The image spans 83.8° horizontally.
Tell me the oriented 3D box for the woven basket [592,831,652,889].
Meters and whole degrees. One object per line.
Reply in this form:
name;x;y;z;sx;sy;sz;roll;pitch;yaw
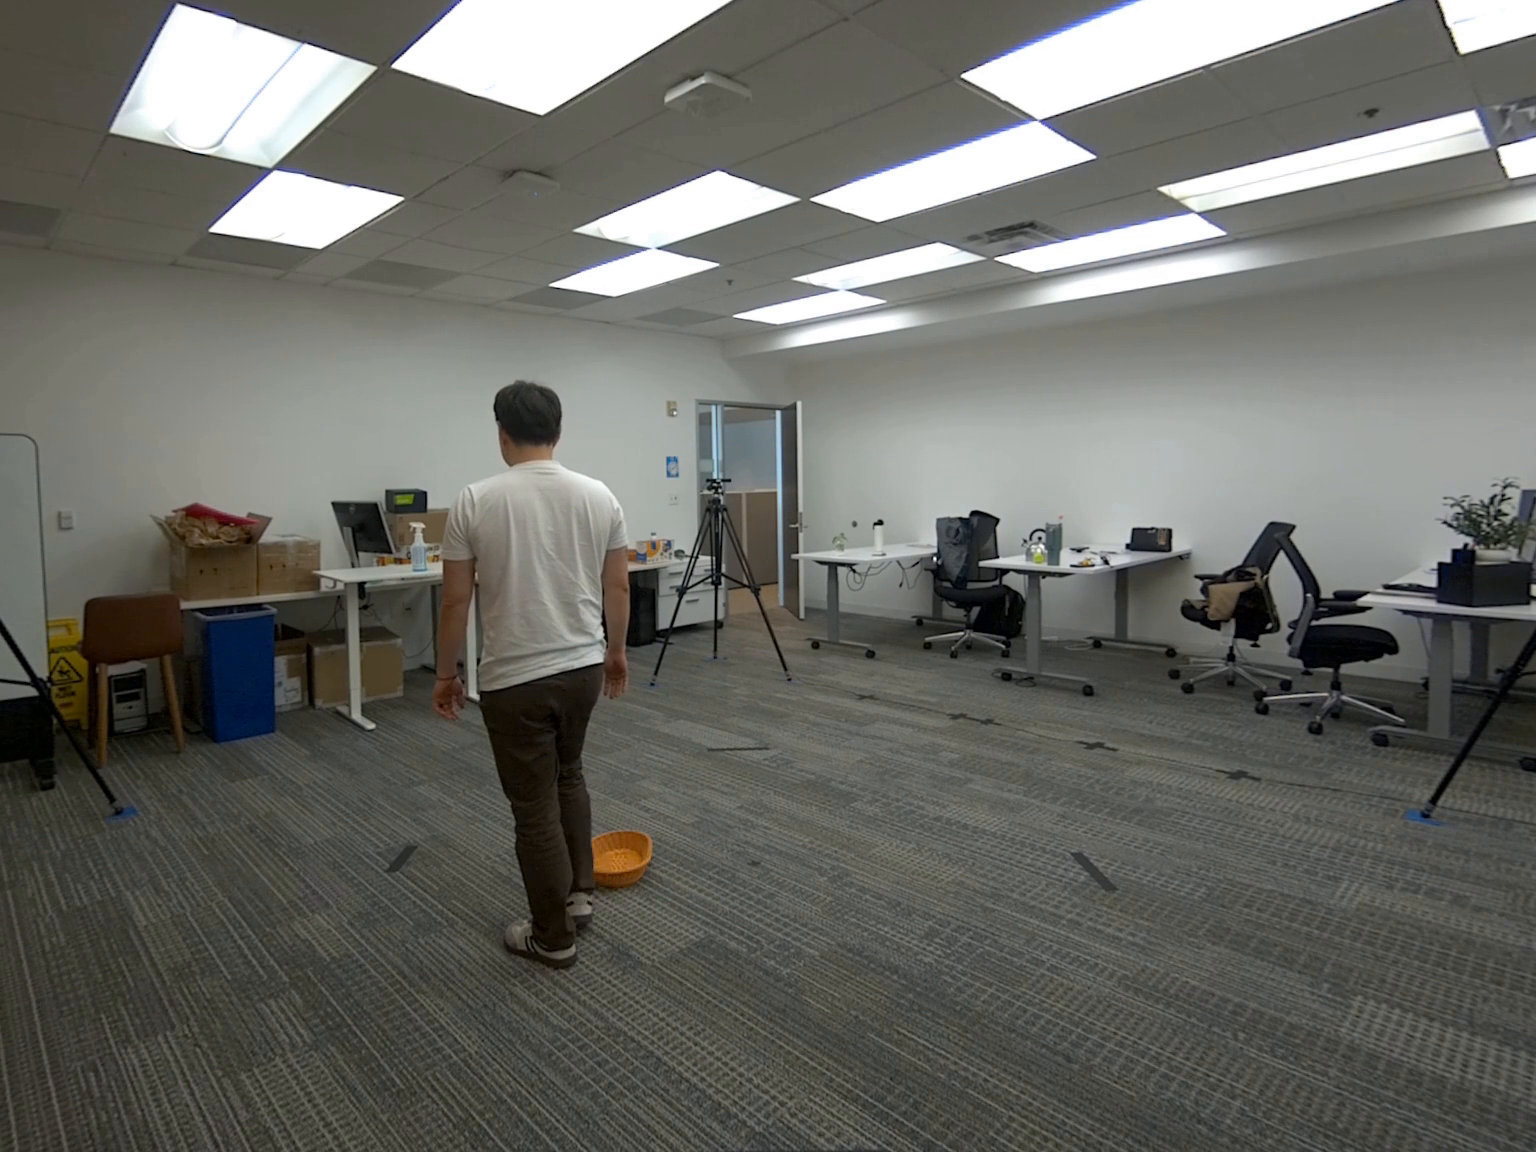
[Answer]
woven basket;-0.541;1.017;3.072;0.252;0.073;0.353;-2;7;-4
